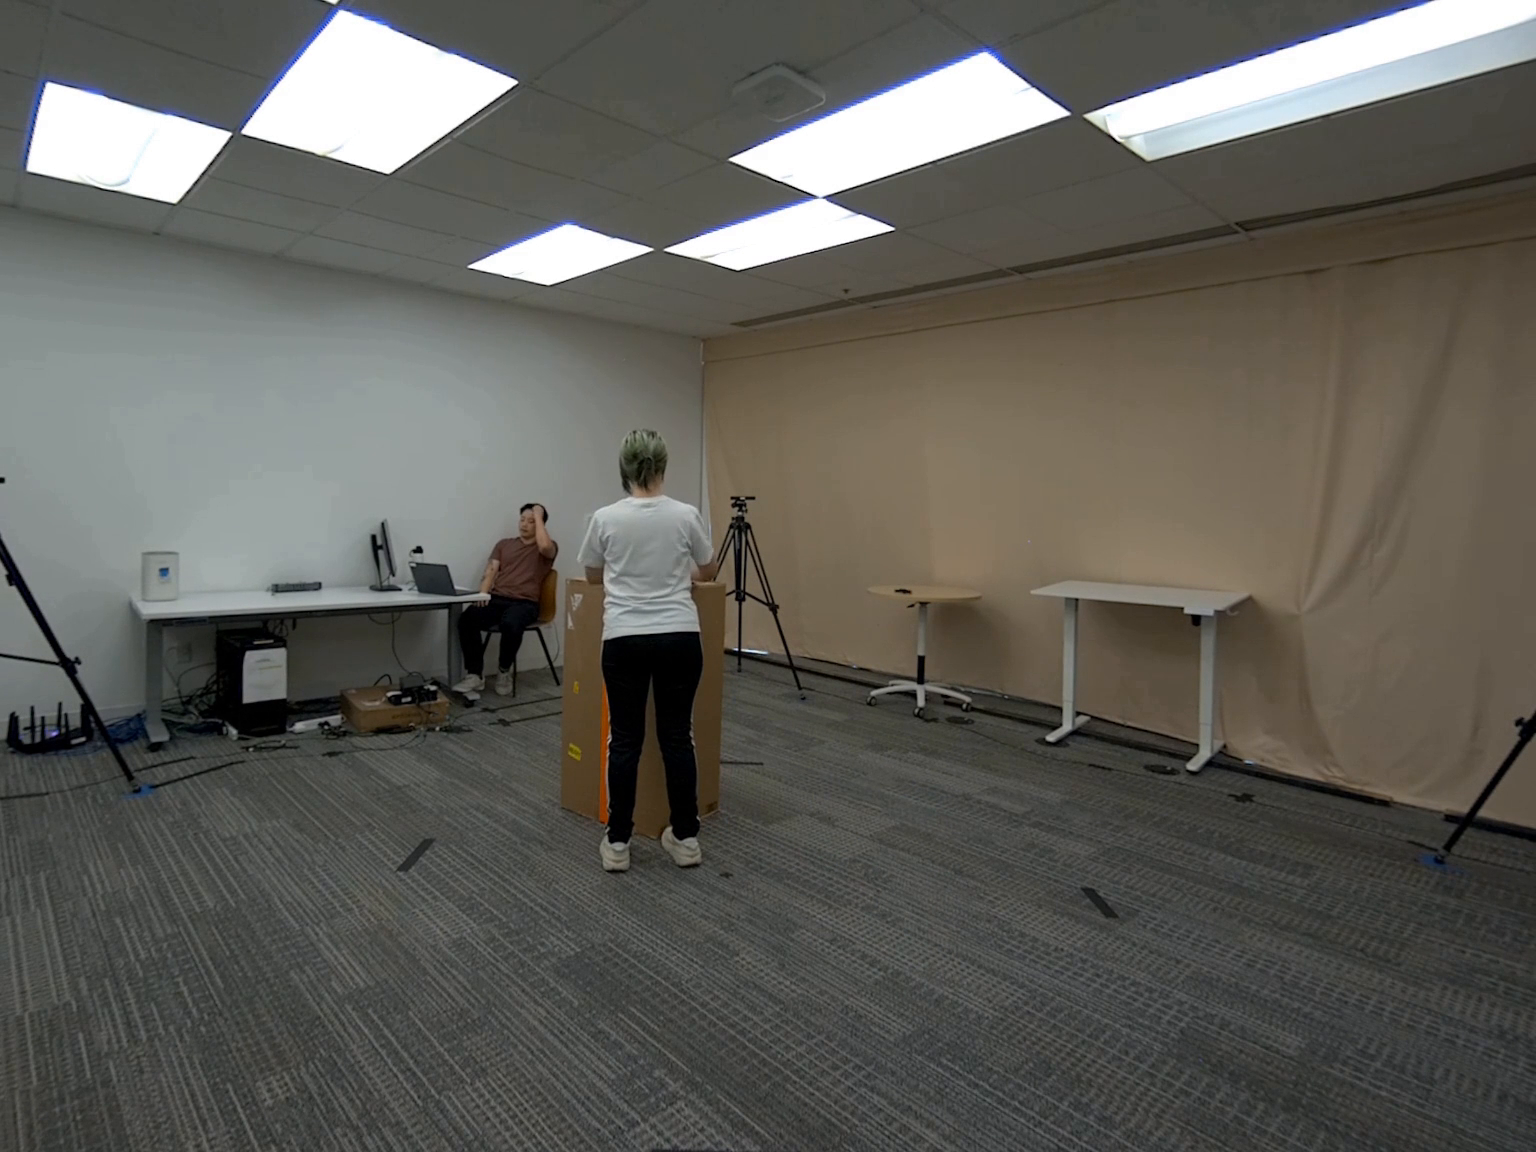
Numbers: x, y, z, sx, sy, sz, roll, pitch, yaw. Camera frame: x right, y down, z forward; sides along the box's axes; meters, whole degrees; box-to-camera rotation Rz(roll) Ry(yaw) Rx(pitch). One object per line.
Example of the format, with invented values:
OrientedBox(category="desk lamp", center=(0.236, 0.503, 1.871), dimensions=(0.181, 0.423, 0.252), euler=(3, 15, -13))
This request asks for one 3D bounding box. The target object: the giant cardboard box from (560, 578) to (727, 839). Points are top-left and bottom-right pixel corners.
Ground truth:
OrientedBox(category="giant cardboard box", center=(-0.566, 0.537, 3.721), dimensions=(0.598, 1.025, 0.437), euler=(5, 4, 34))
